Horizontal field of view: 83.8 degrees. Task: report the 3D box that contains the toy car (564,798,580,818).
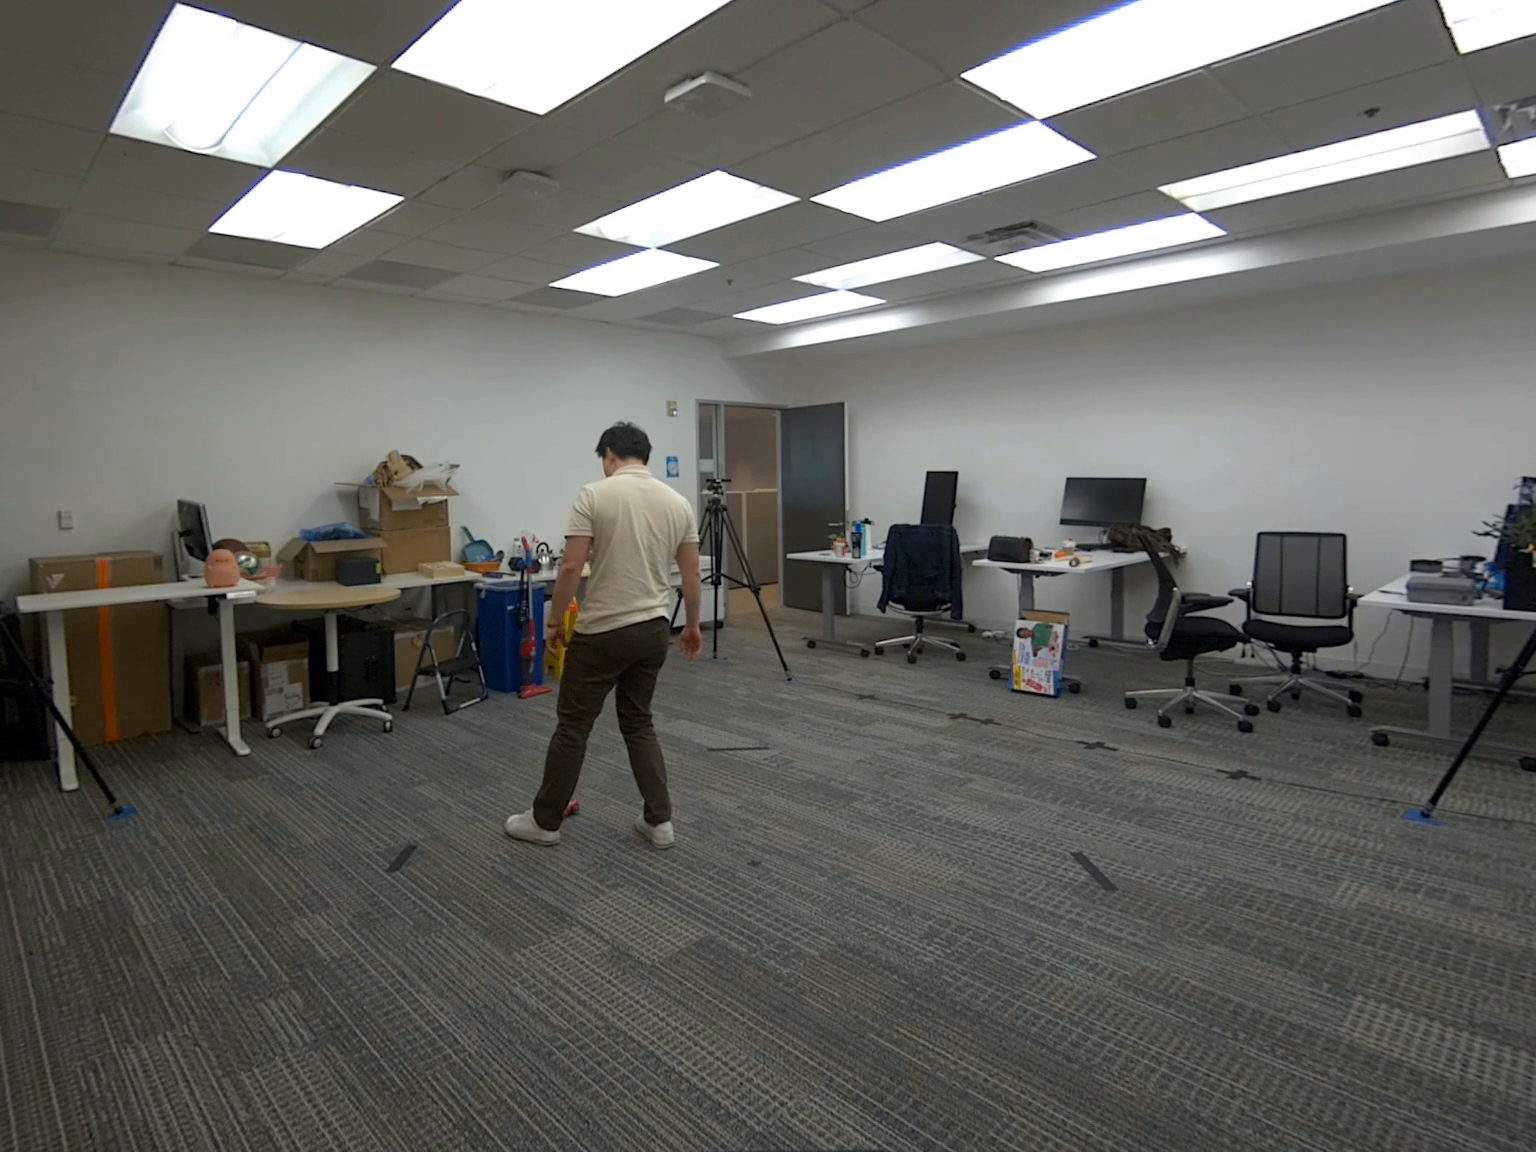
[{"bbox_3d":[-0.896,0.981,3.548,0.134,0.083,0.247,2,-5,30],"label":"toy car"}]
